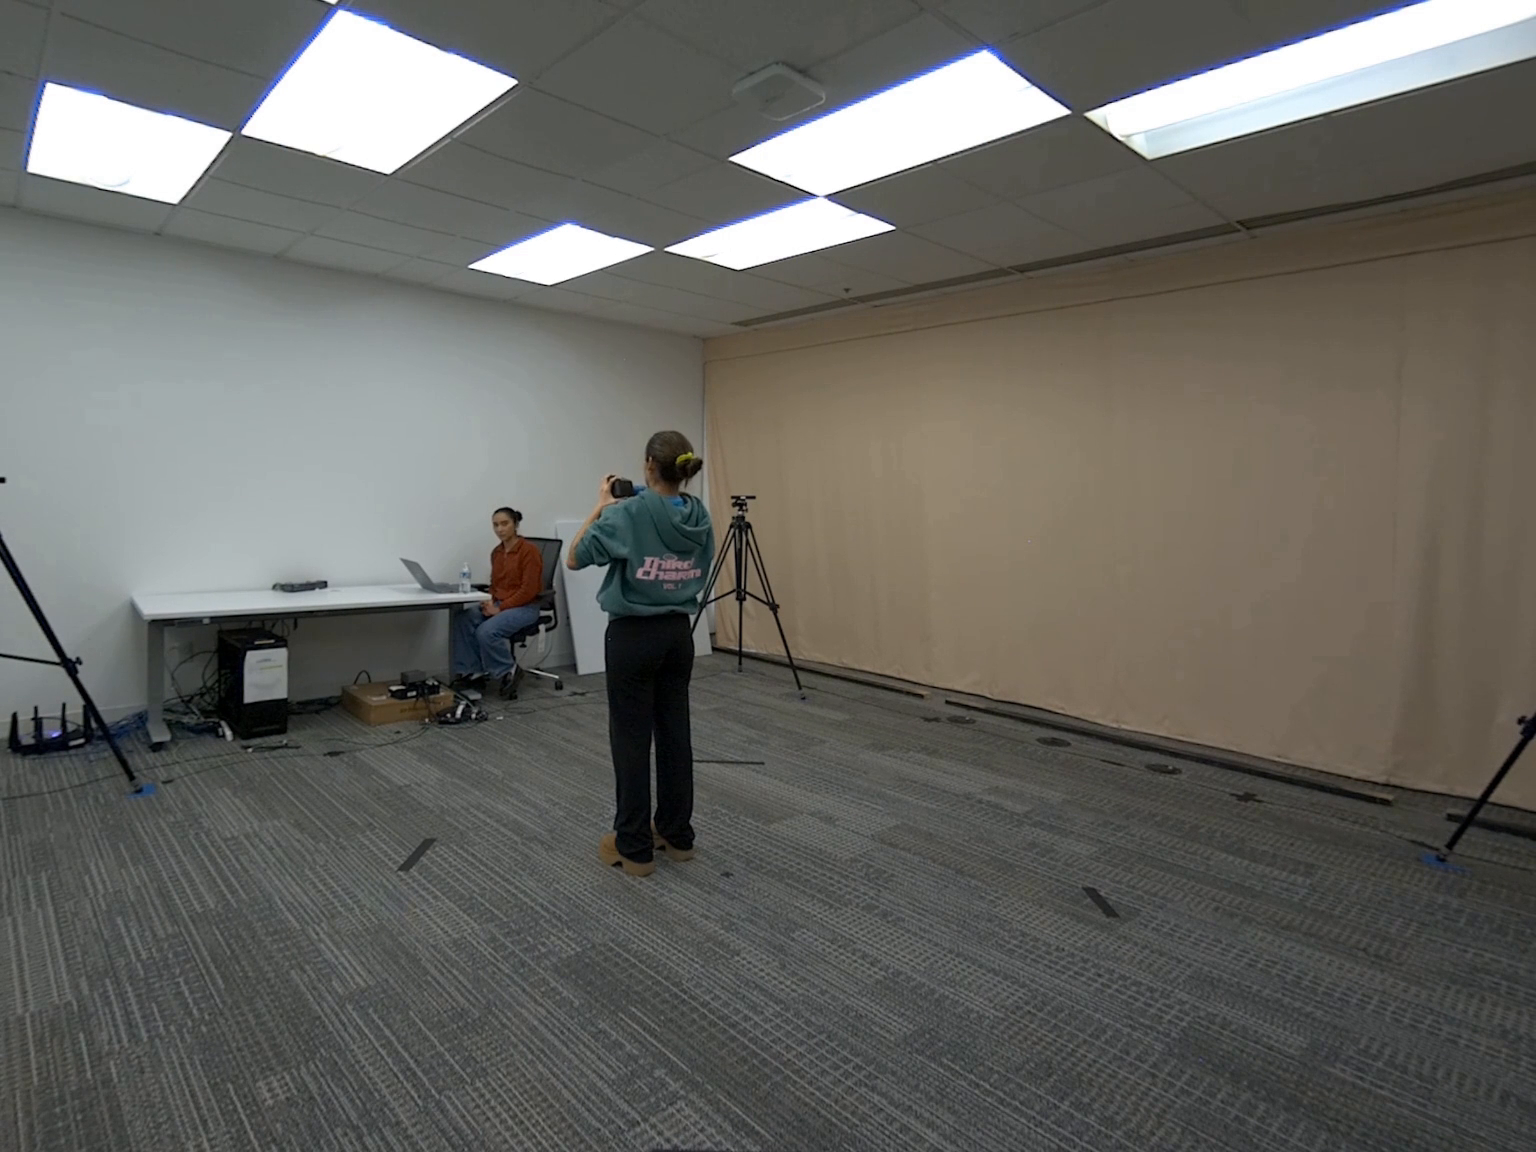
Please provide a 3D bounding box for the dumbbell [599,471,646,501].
[{"bbox_3d":[-0.487,-0.316,3.247,0.287,0.124,0.110,-2,-15,-45],"label":"dumbbell"}]
